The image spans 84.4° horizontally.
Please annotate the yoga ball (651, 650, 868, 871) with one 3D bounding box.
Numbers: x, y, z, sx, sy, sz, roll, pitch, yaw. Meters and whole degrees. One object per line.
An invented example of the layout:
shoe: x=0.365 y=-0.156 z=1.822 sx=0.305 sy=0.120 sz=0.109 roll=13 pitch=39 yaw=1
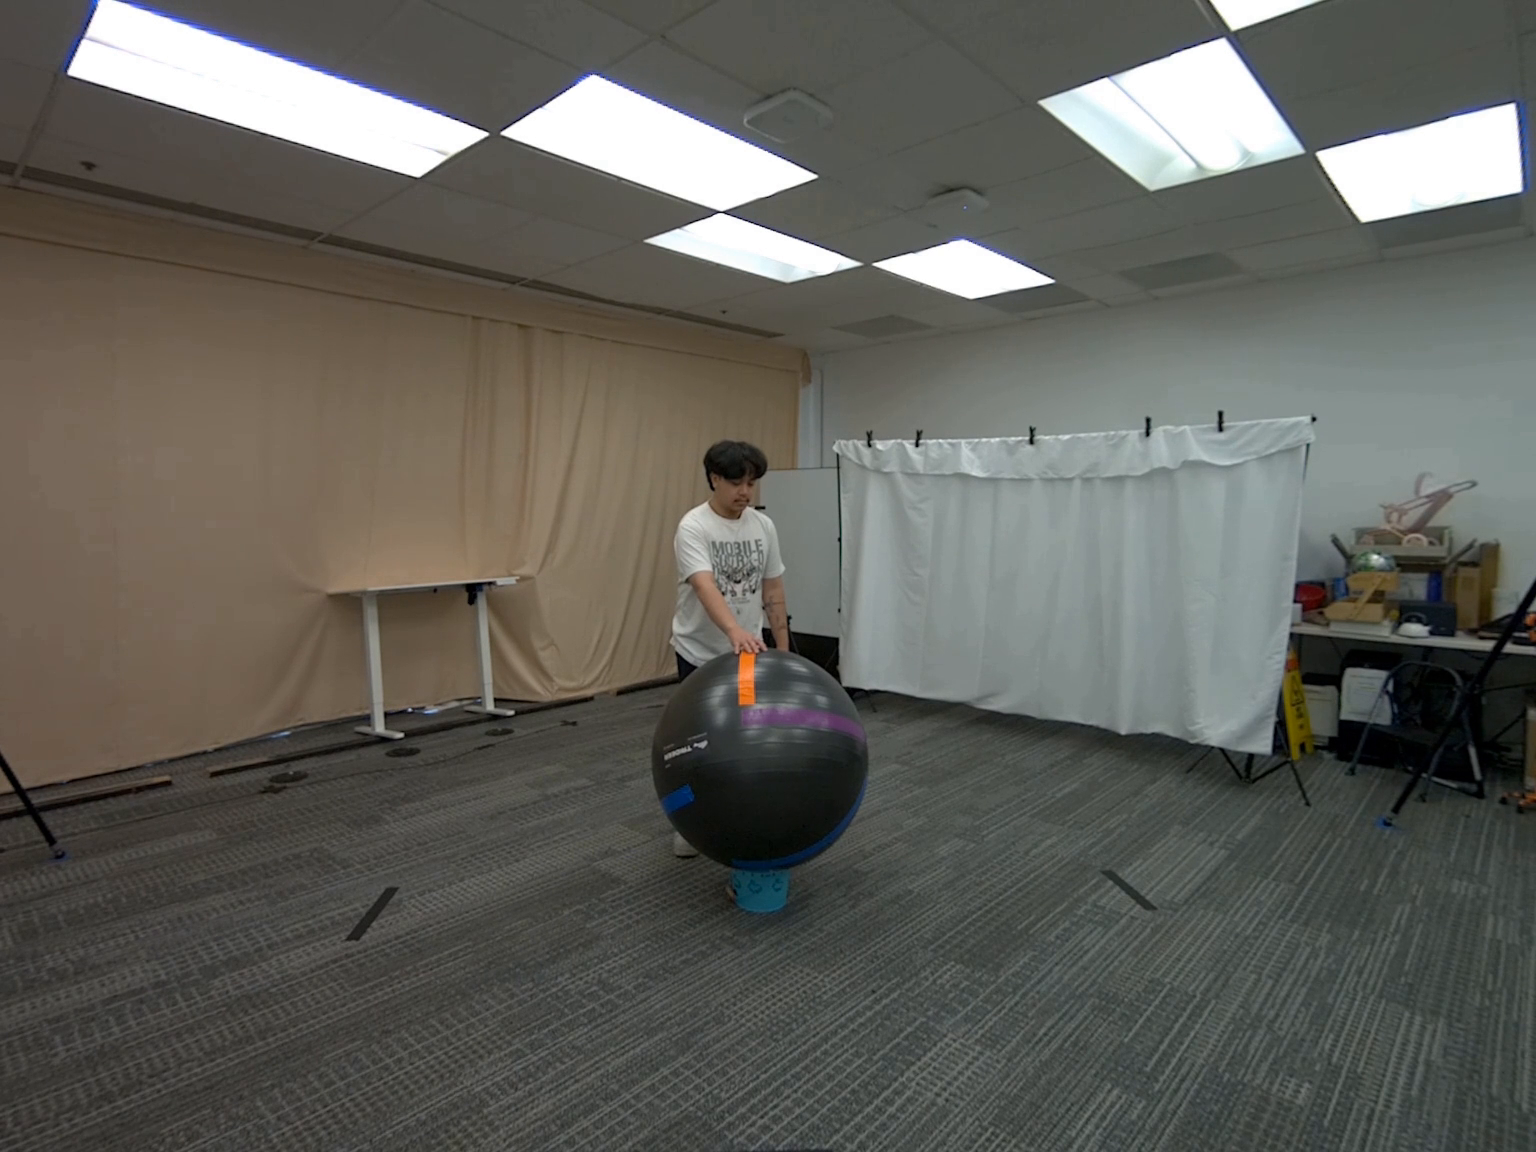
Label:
yoga ball: x=-0.031 y=0.640 z=2.947 sx=0.757 sy=0.756 sz=0.761 roll=0 pitch=4 yaw=-2
